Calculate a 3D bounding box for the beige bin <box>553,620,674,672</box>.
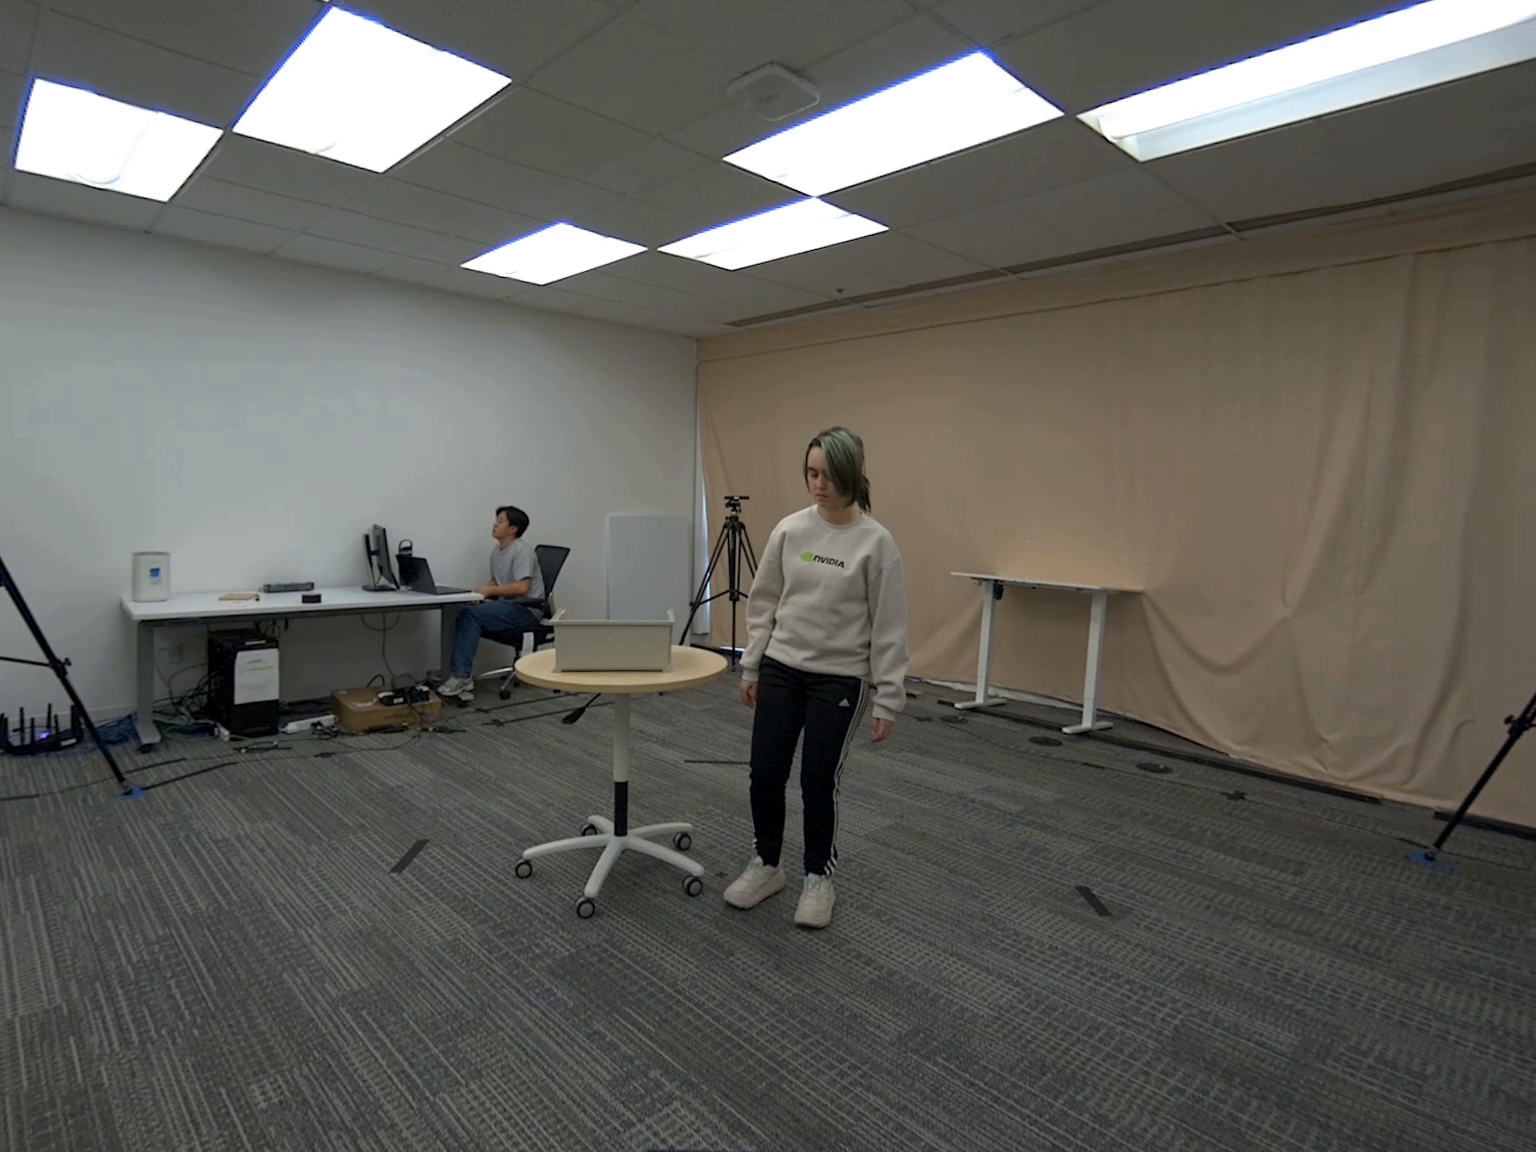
[{"bbox_3d":[-0.557,0.230,3.059,0.421,0.188,0.380,1,5,-5],"label":"beige bin"}]
